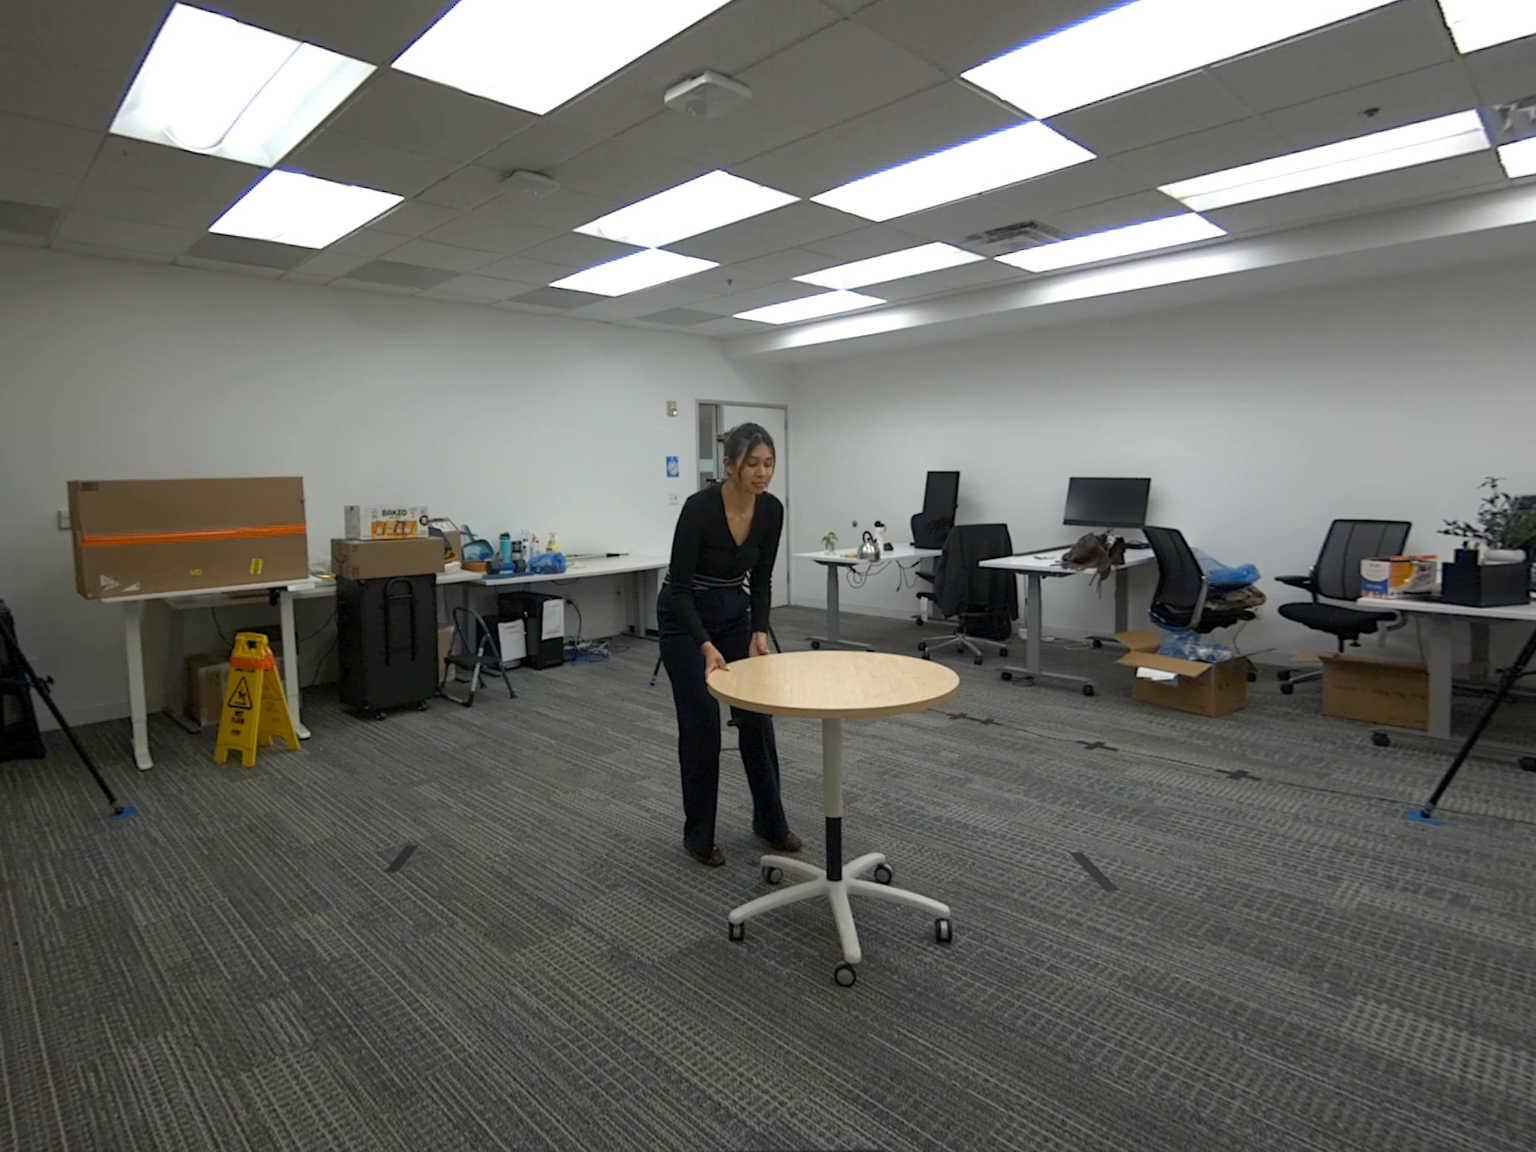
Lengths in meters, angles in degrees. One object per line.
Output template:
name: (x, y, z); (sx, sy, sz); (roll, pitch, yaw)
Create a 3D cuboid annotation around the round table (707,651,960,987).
round table: (0.207, 0.701, 2.666); (0.763, 0.791, 0.768); (-1, 5, -2)
